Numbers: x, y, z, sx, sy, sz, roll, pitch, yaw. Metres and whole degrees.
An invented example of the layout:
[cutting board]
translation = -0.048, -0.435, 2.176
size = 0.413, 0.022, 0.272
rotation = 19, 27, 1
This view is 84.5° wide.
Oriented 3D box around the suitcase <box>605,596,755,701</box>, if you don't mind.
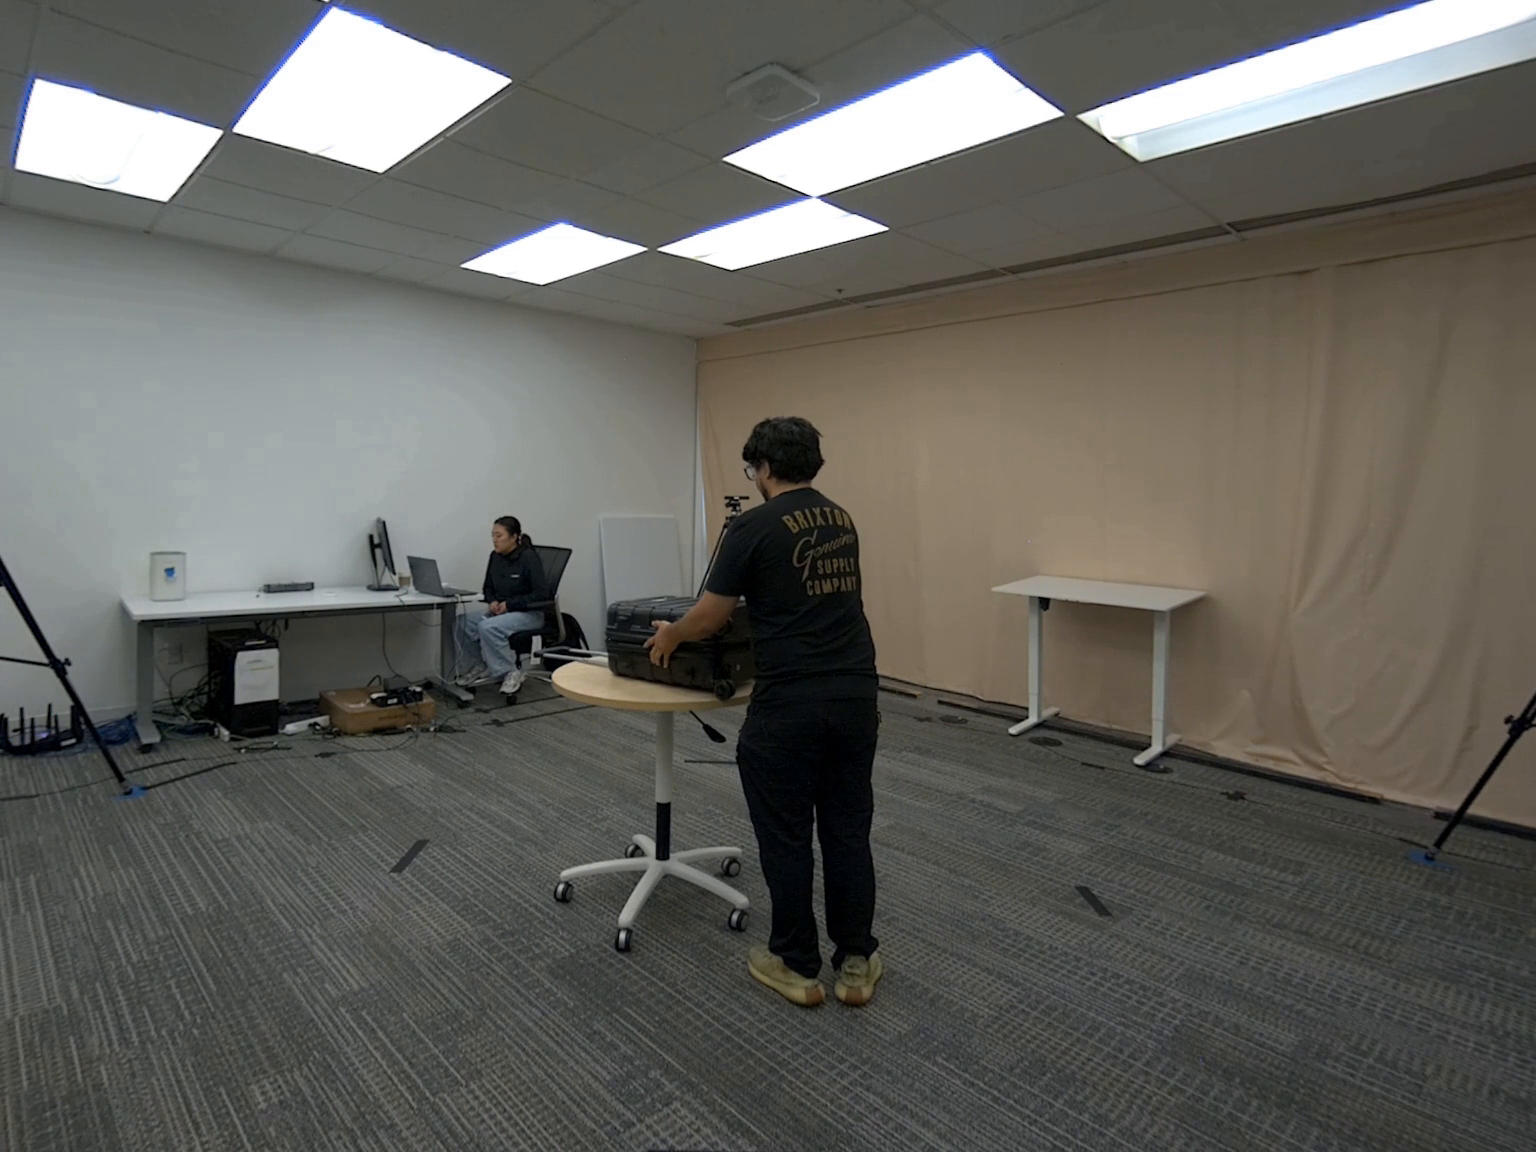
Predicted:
[suitcase]
translation = -0.435, 0.200, 2.938
size = 1.002, 0.256, 0.376
rotation = 6, 8, 35
